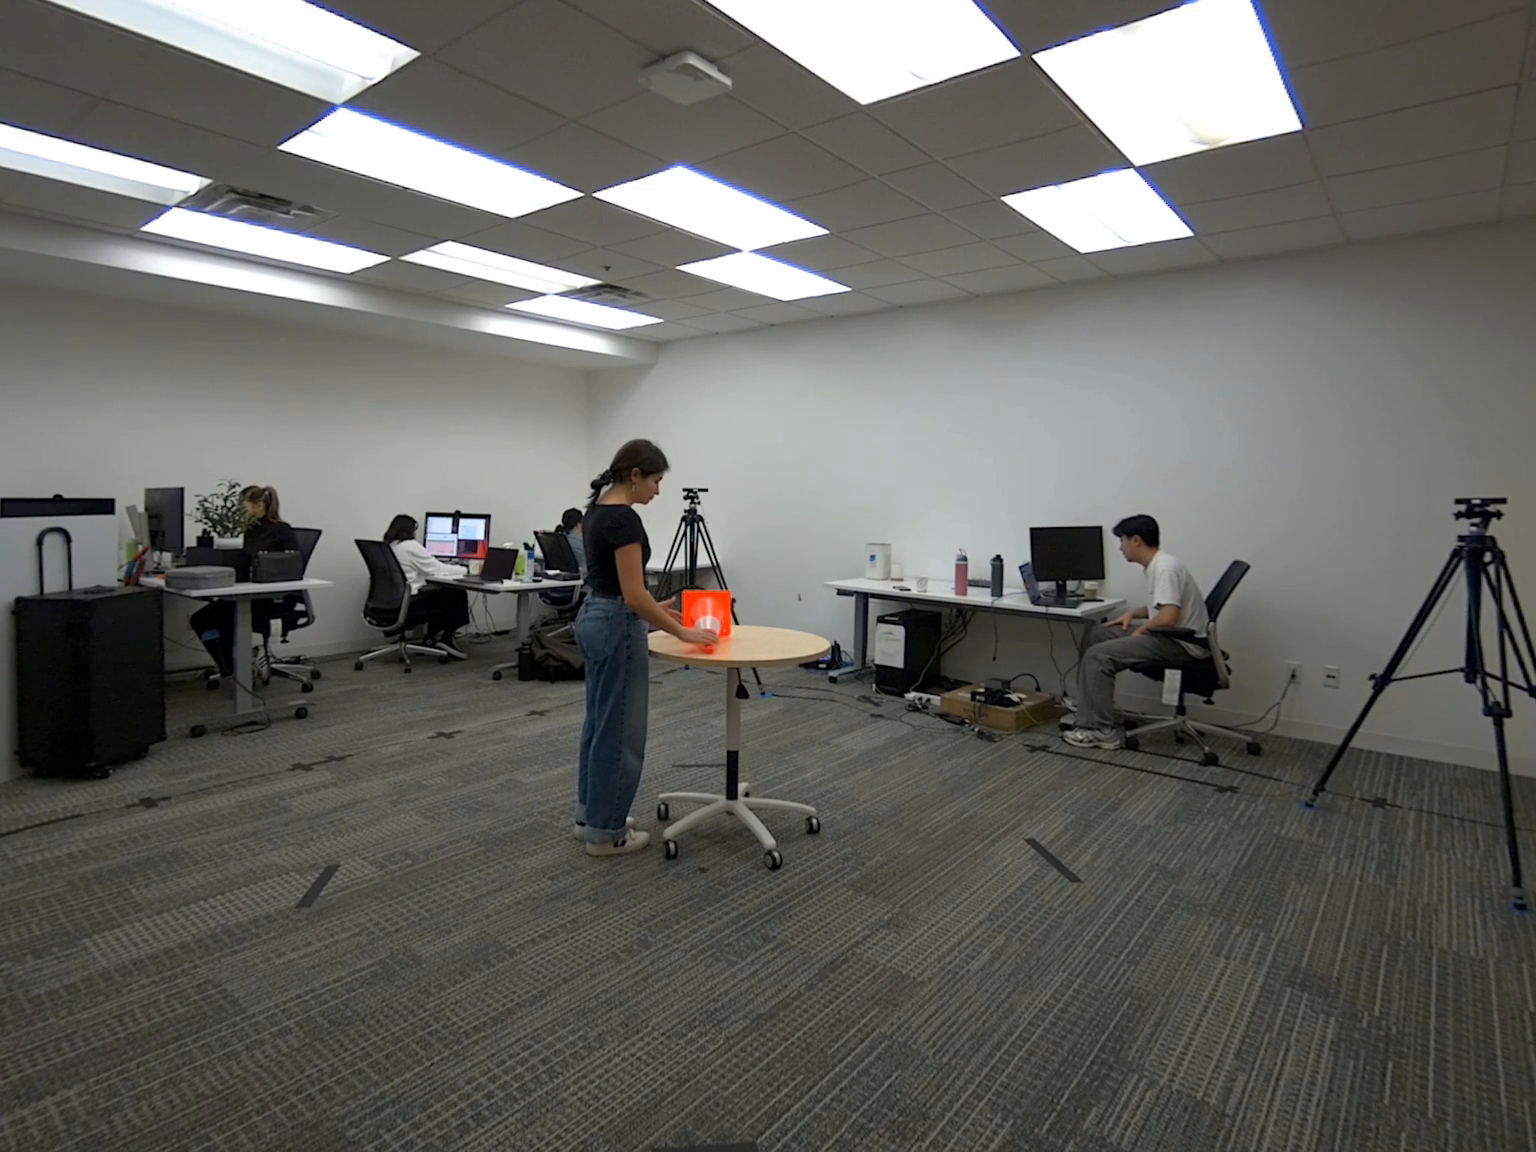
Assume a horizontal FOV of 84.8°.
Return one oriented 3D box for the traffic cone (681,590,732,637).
[{"bbox_3d":[-0.231,0.212,3.317,0.203,0.200,0.393,2,18,-10],"label":"traffic cone"}]
